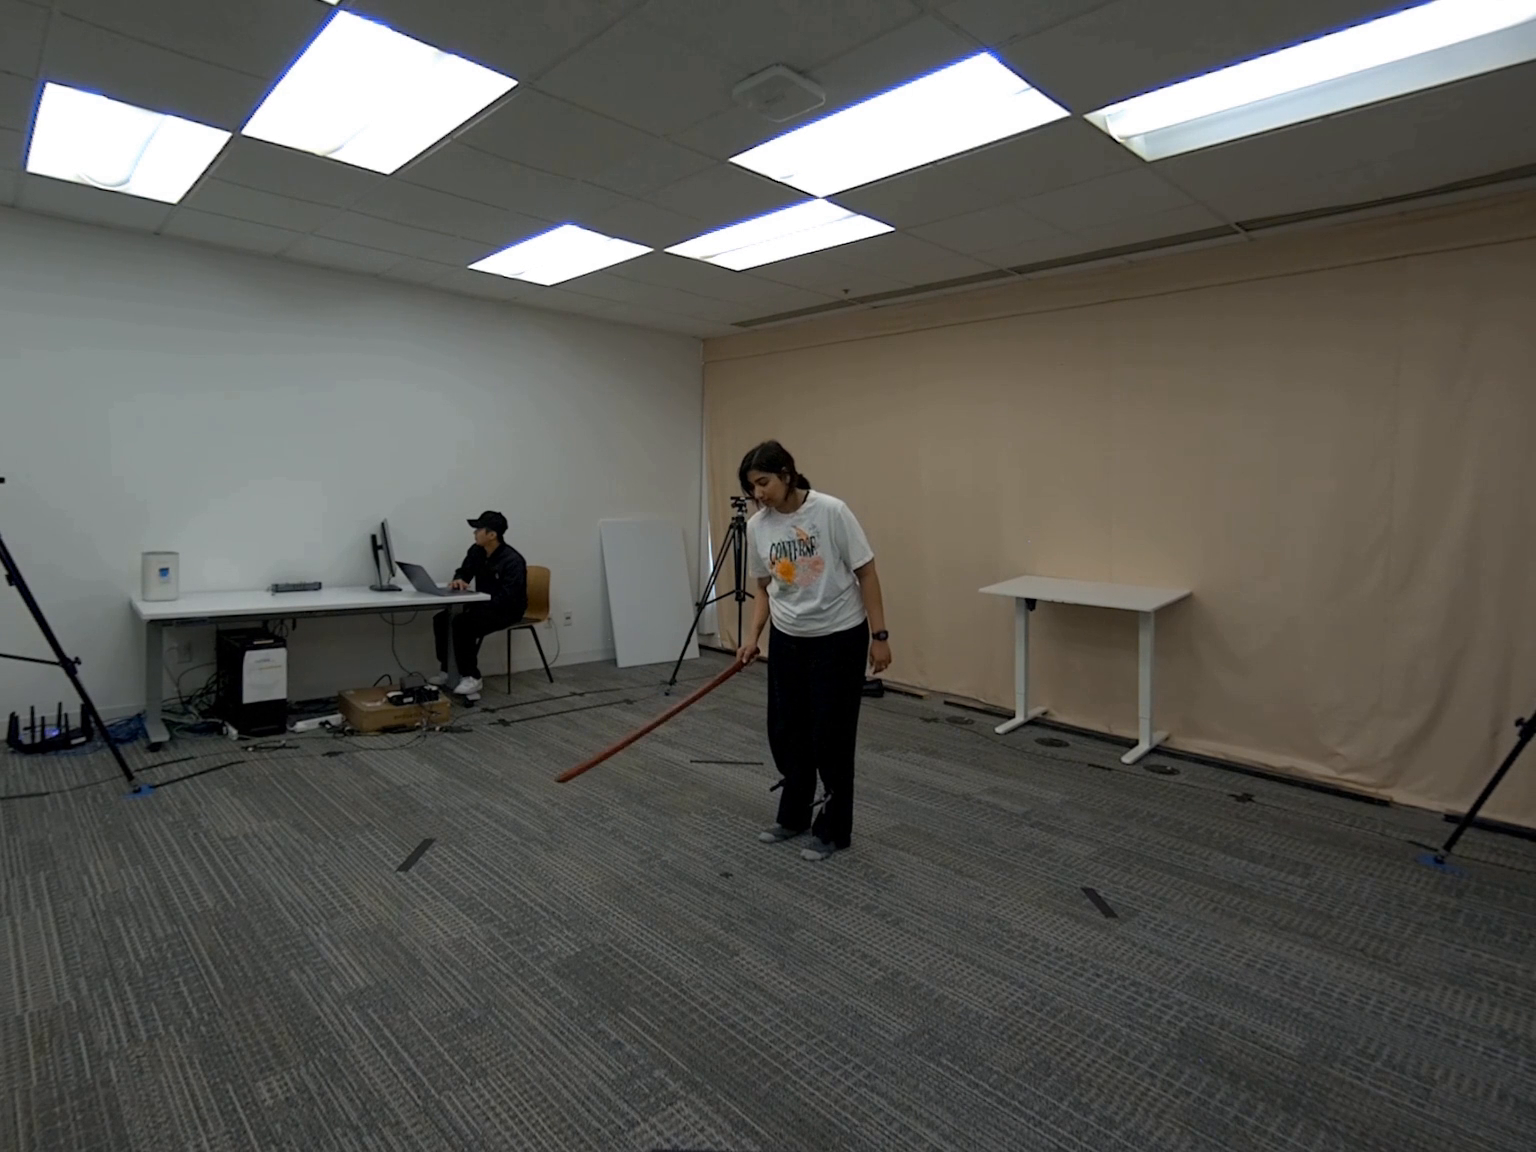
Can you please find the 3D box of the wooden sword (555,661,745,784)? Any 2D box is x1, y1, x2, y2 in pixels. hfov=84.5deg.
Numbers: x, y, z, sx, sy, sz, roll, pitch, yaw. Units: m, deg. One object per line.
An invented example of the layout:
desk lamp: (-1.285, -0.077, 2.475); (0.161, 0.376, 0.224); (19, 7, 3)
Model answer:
wooden sword: (-0.386, 0.495, 3.055); (0.025, 0.050, 1.015); (9, 27, 35)
